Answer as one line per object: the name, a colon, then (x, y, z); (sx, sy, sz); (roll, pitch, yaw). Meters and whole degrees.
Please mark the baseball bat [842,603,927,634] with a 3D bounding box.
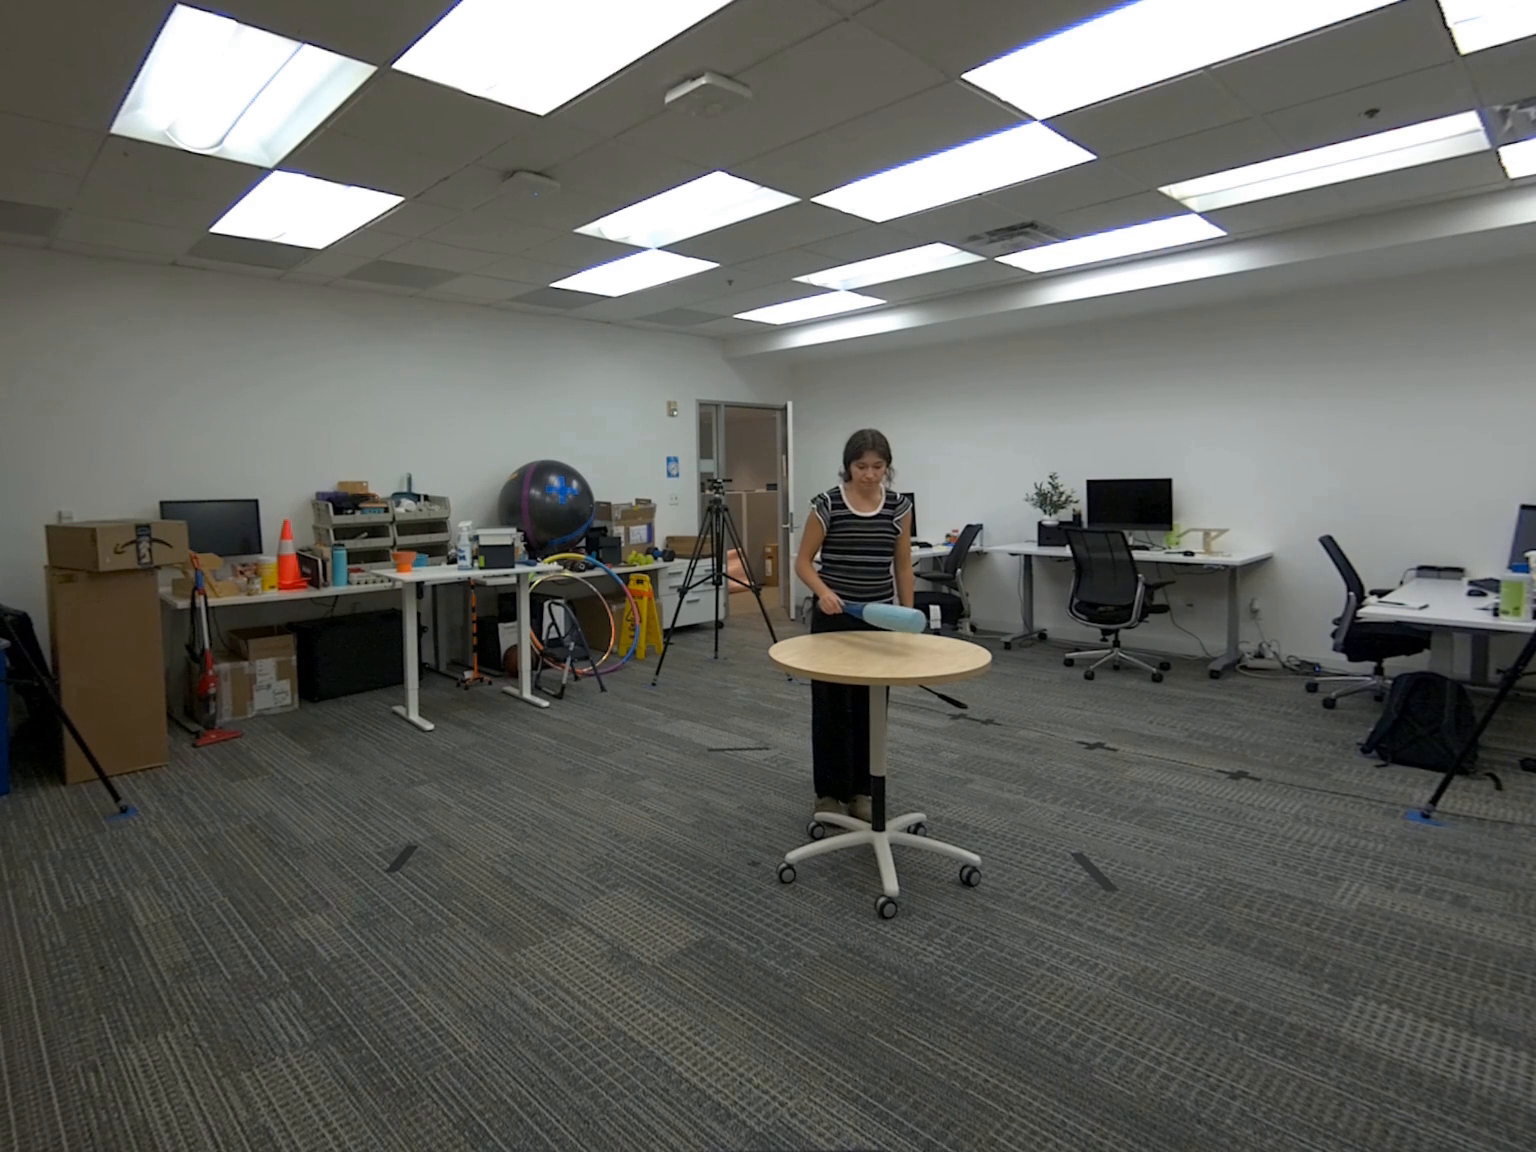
baseball bat: (0.360, 0.136, 3.150); (0.087, 0.089, 0.557); (-4, 6, -29)
